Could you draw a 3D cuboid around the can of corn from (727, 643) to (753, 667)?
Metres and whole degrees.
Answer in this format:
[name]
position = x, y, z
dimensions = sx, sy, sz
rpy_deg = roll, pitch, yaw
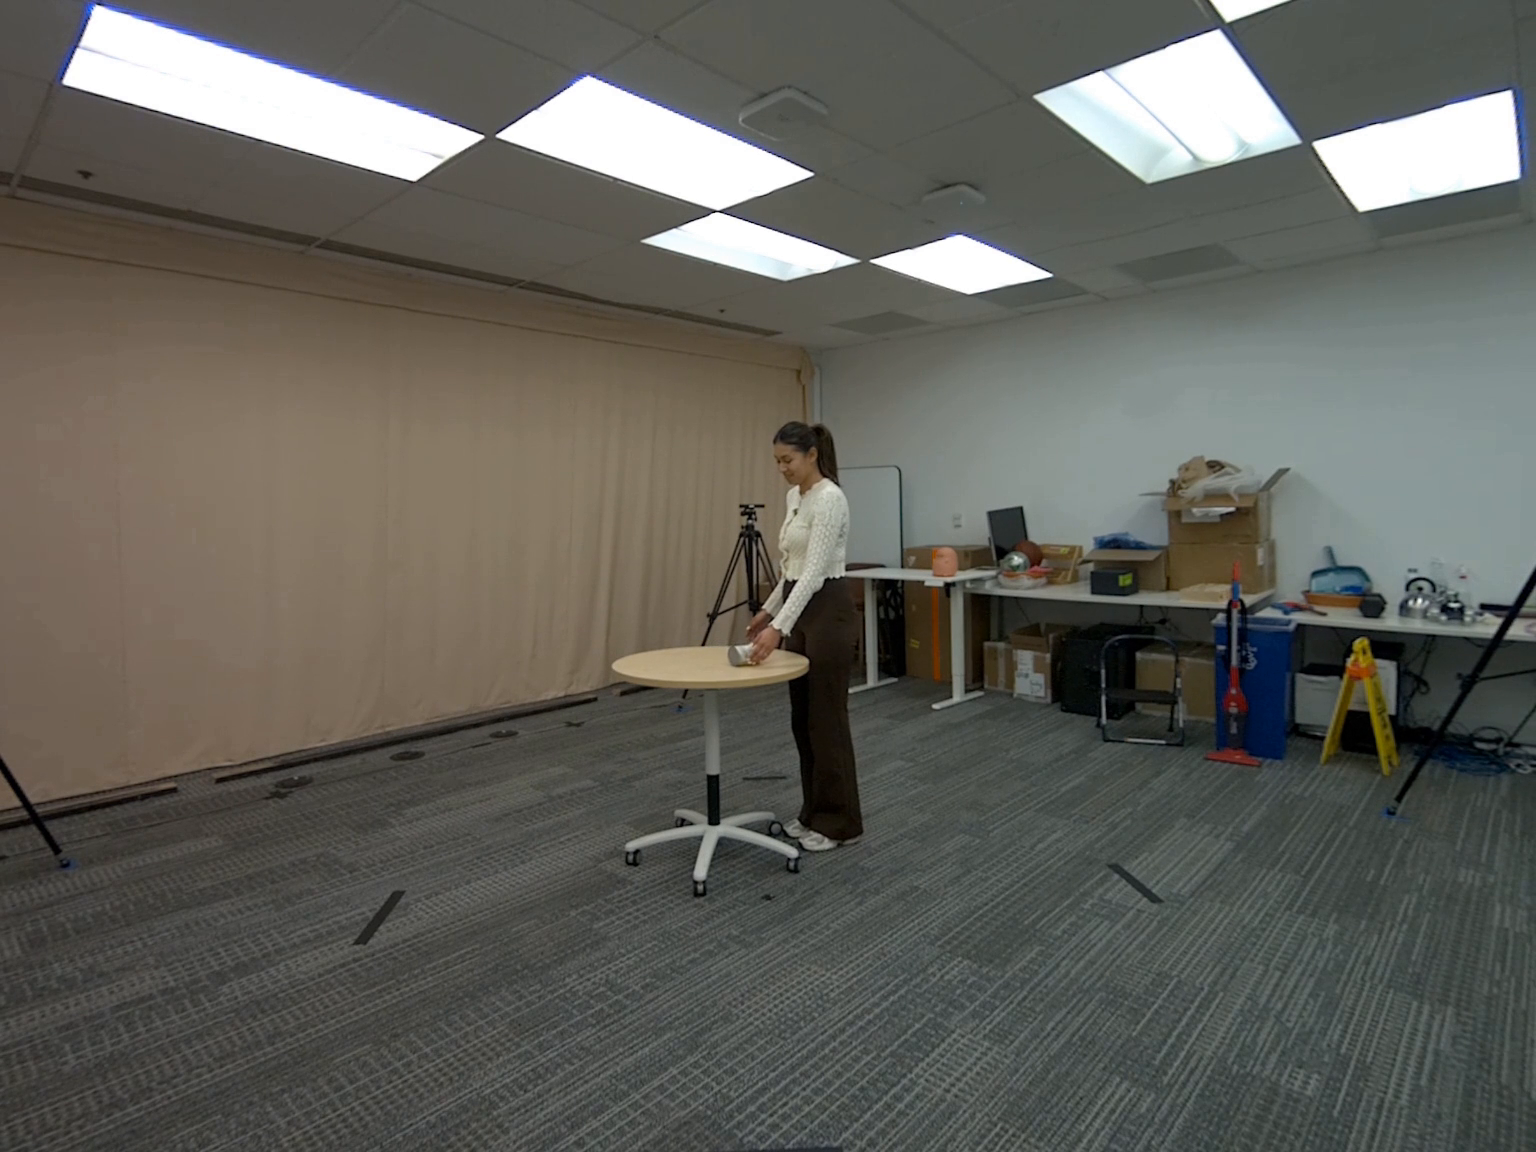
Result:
[can of corn]
position = -0.088, 0.299, 3.206
dimensions = 0.108, 0.074, 0.076
rpy_deg = -2, 4, -30
